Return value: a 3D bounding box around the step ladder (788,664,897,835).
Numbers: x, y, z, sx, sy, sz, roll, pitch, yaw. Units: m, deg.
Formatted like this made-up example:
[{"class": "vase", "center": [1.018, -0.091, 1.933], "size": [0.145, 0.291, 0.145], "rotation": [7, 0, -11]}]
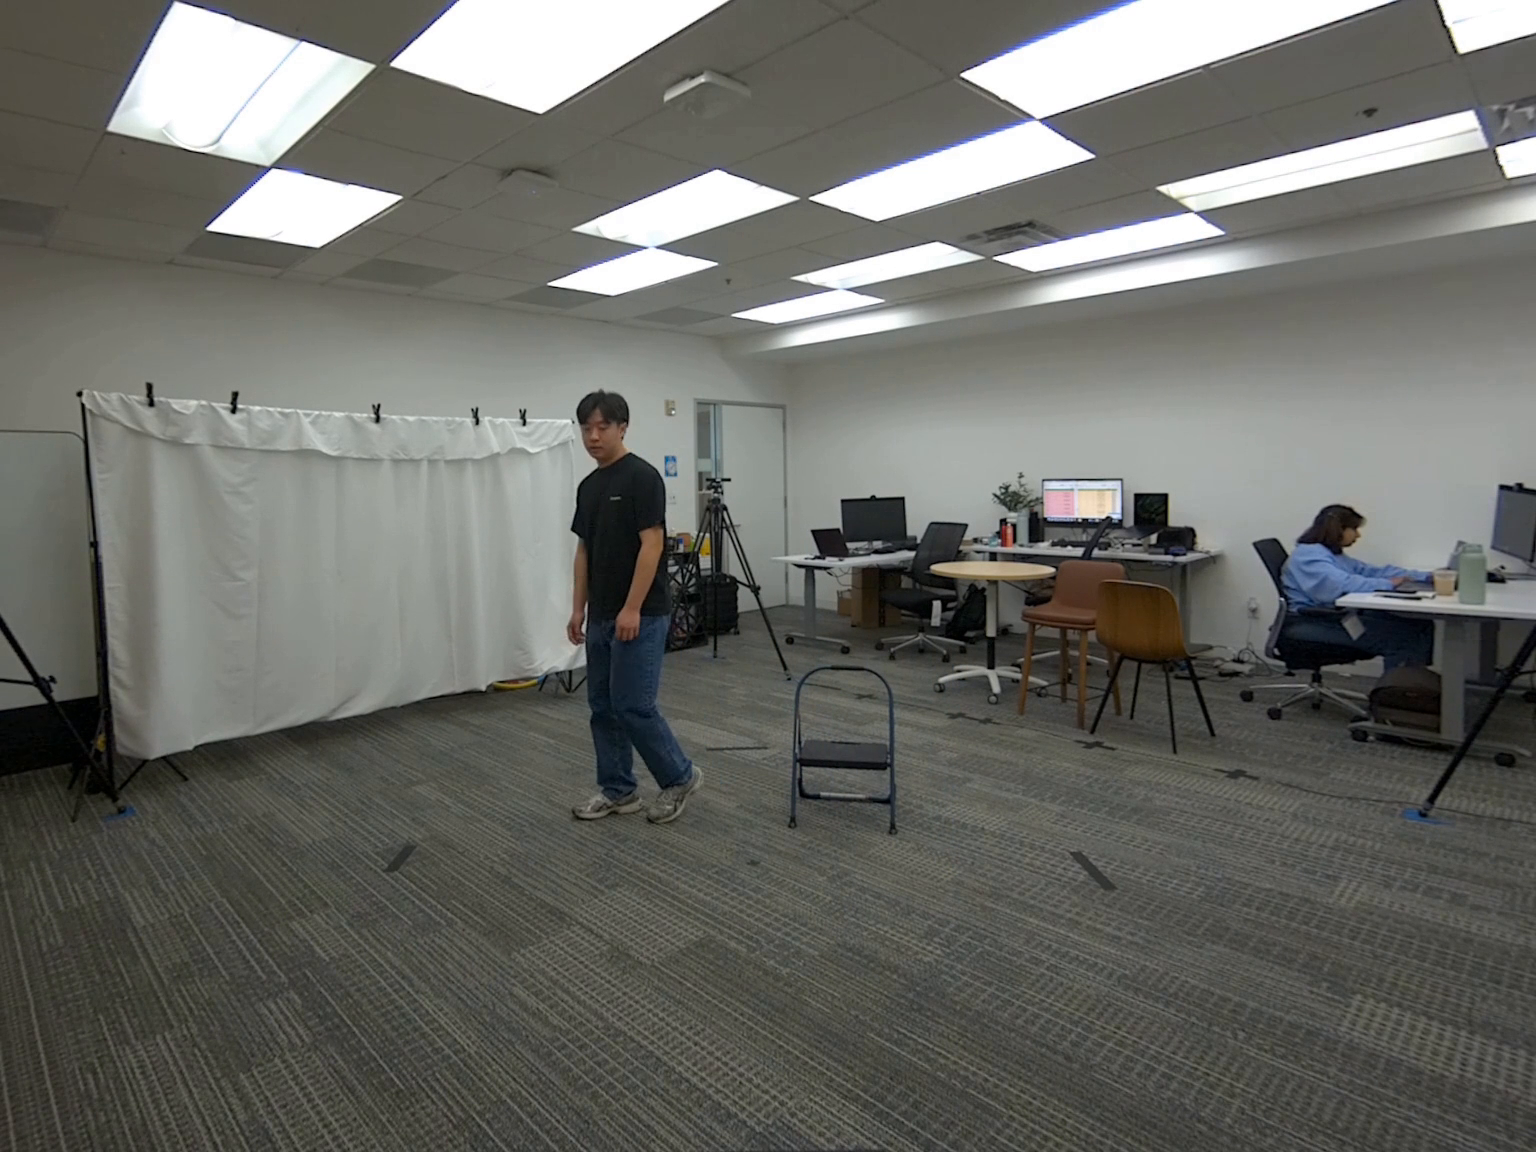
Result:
[{"class": "step ladder", "center": [0.313, 0.685, 3.518], "size": [0.435, 0.603, 0.348], "rotation": [1, 5, 9]}]
